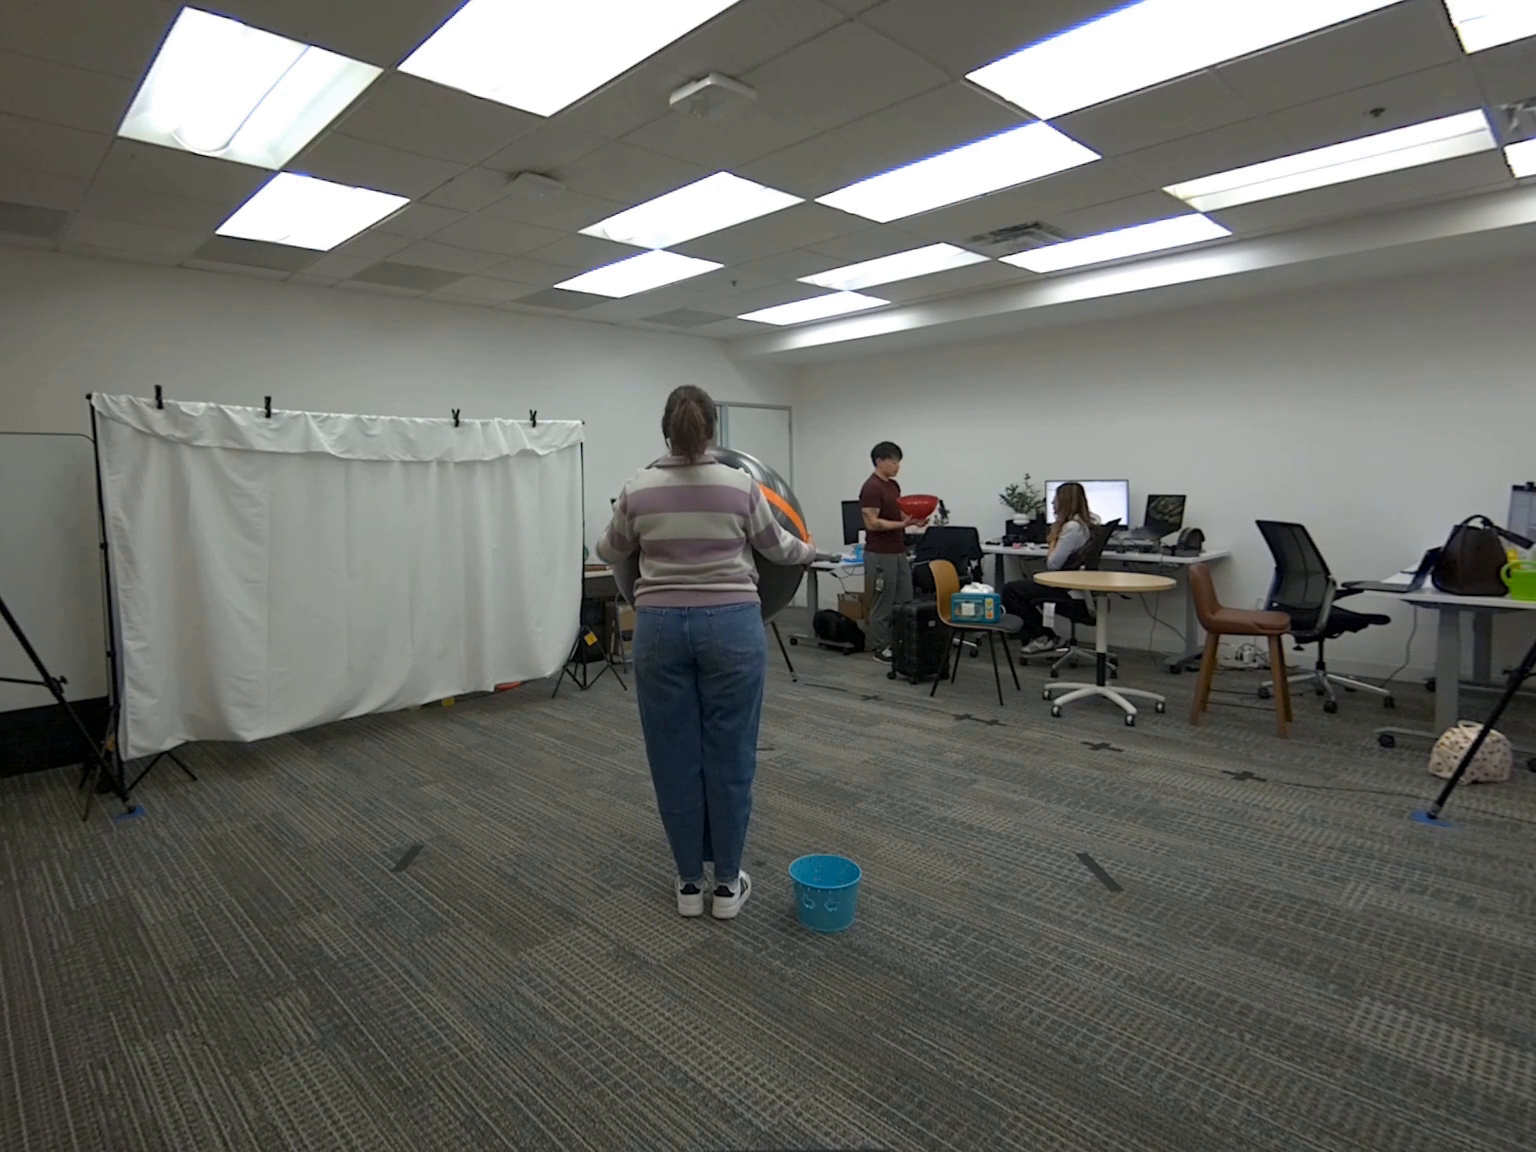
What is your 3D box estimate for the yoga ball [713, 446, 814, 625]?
[{"bbox_3d":[-0.230,-0.112,3.285,0.757,0.755,0.762,-1,5,-2],"label":"yoga ball"}]
